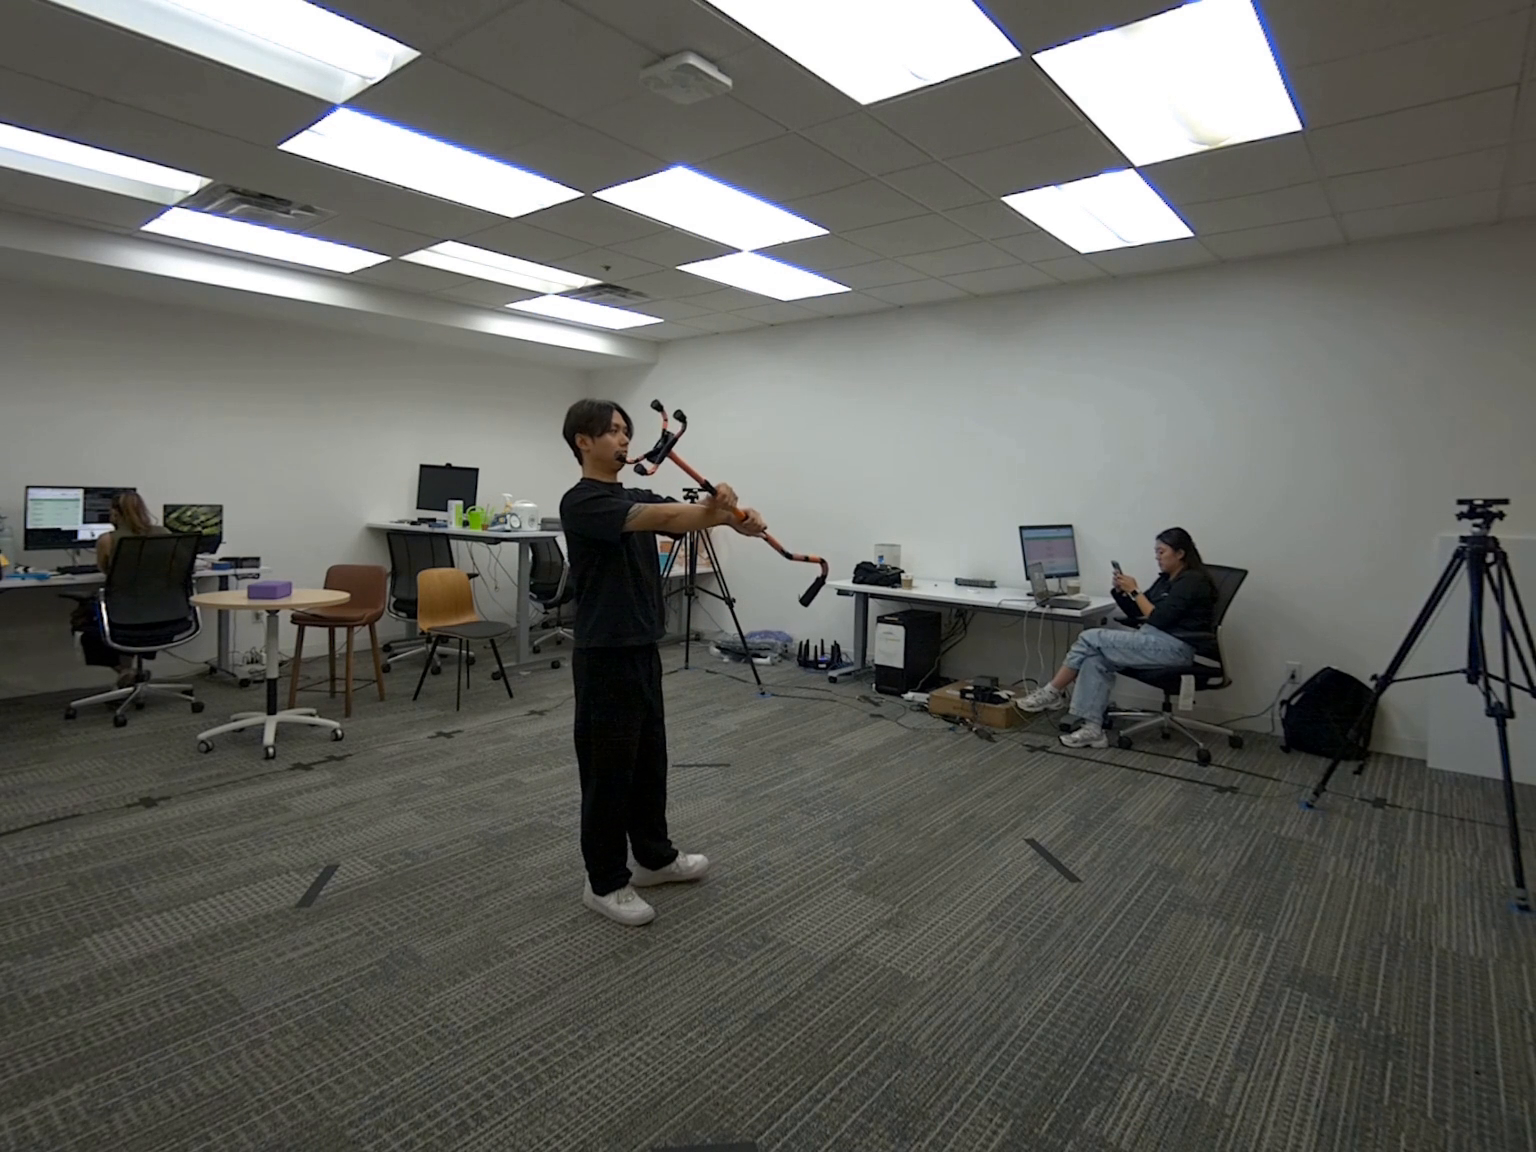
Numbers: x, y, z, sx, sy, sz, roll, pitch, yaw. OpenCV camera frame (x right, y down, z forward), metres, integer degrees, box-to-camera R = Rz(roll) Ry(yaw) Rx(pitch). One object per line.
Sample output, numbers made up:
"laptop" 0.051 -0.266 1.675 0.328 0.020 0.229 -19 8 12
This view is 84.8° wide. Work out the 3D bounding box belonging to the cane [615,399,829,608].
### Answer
"cane" -0.087 -0.184 2.587 0.870 0.206 0.158 38 -4 -42
